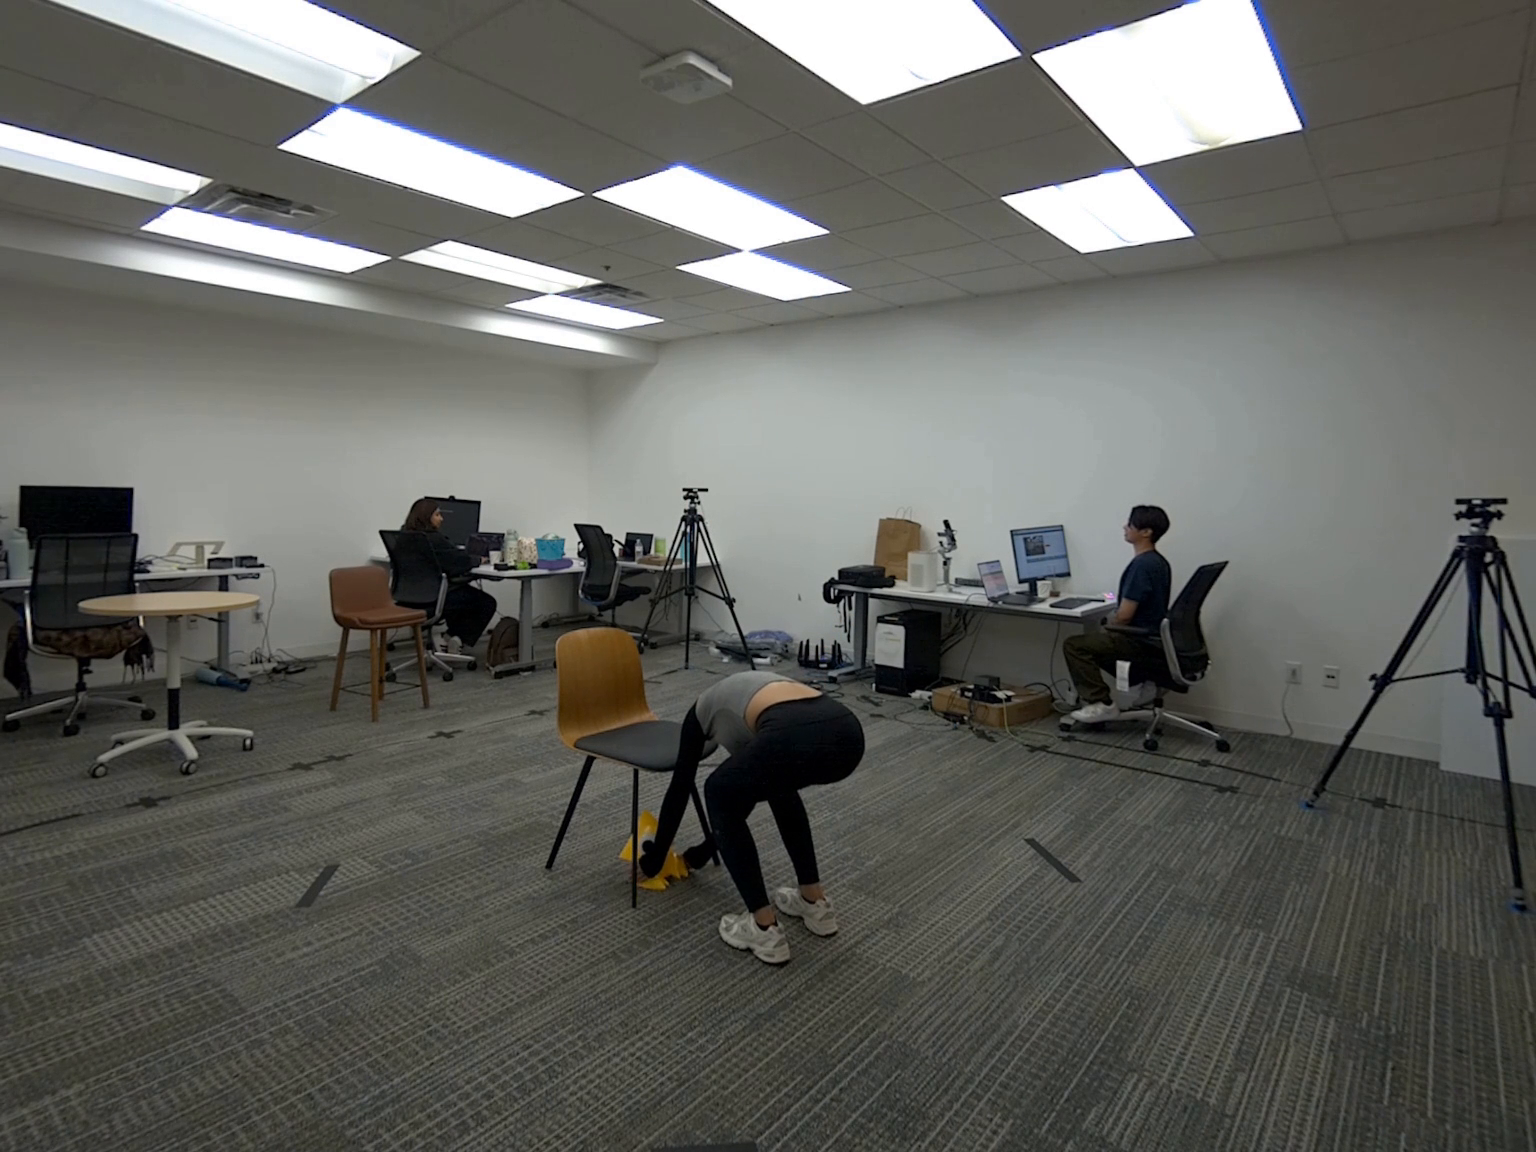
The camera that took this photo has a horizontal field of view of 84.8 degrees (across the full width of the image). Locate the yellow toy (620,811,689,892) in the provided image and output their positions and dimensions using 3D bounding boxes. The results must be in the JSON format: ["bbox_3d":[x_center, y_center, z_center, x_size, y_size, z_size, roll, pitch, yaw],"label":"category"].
[{"bbox_3d":[-0.402,0.960,3.044,0.199,0.230,0.199,1,3,34],"label":"yellow toy"}]
